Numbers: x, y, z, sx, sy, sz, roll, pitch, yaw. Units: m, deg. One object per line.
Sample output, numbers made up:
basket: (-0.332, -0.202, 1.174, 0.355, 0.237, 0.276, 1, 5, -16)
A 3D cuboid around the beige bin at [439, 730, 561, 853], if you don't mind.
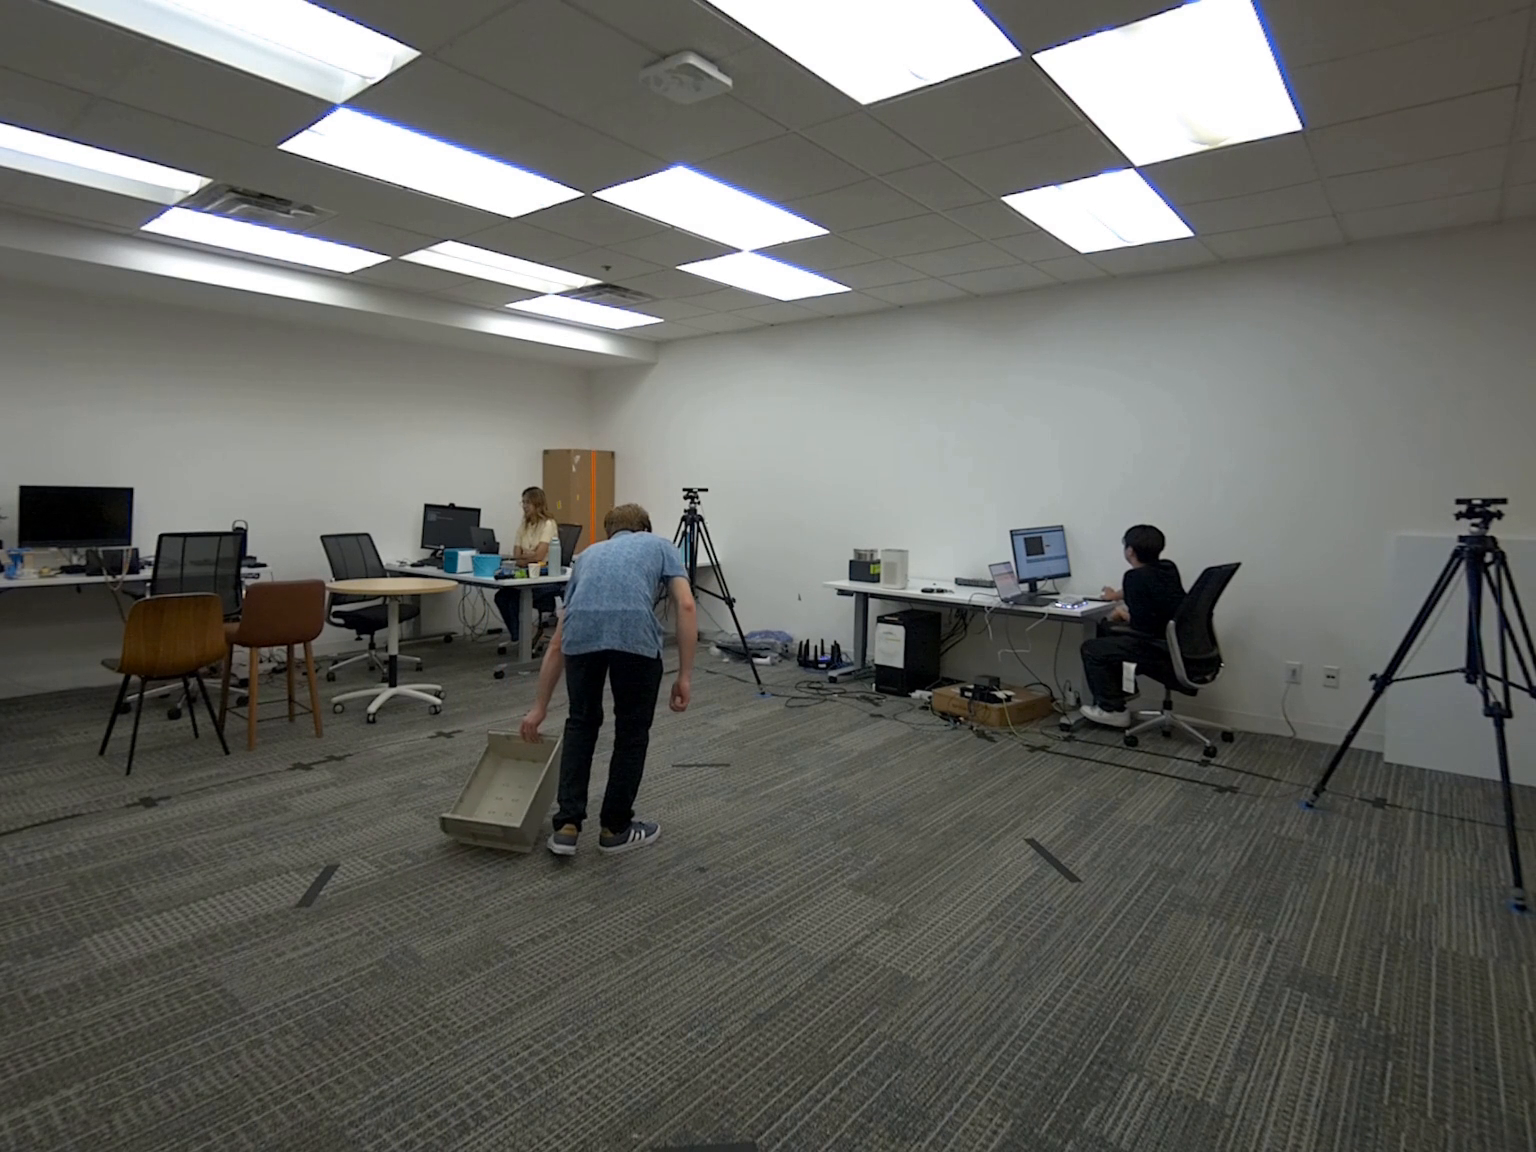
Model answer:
beige bin: (-1.051, 0.840, 3.367, 0.383, 0.183, 0.429, 2, 39, 14)
